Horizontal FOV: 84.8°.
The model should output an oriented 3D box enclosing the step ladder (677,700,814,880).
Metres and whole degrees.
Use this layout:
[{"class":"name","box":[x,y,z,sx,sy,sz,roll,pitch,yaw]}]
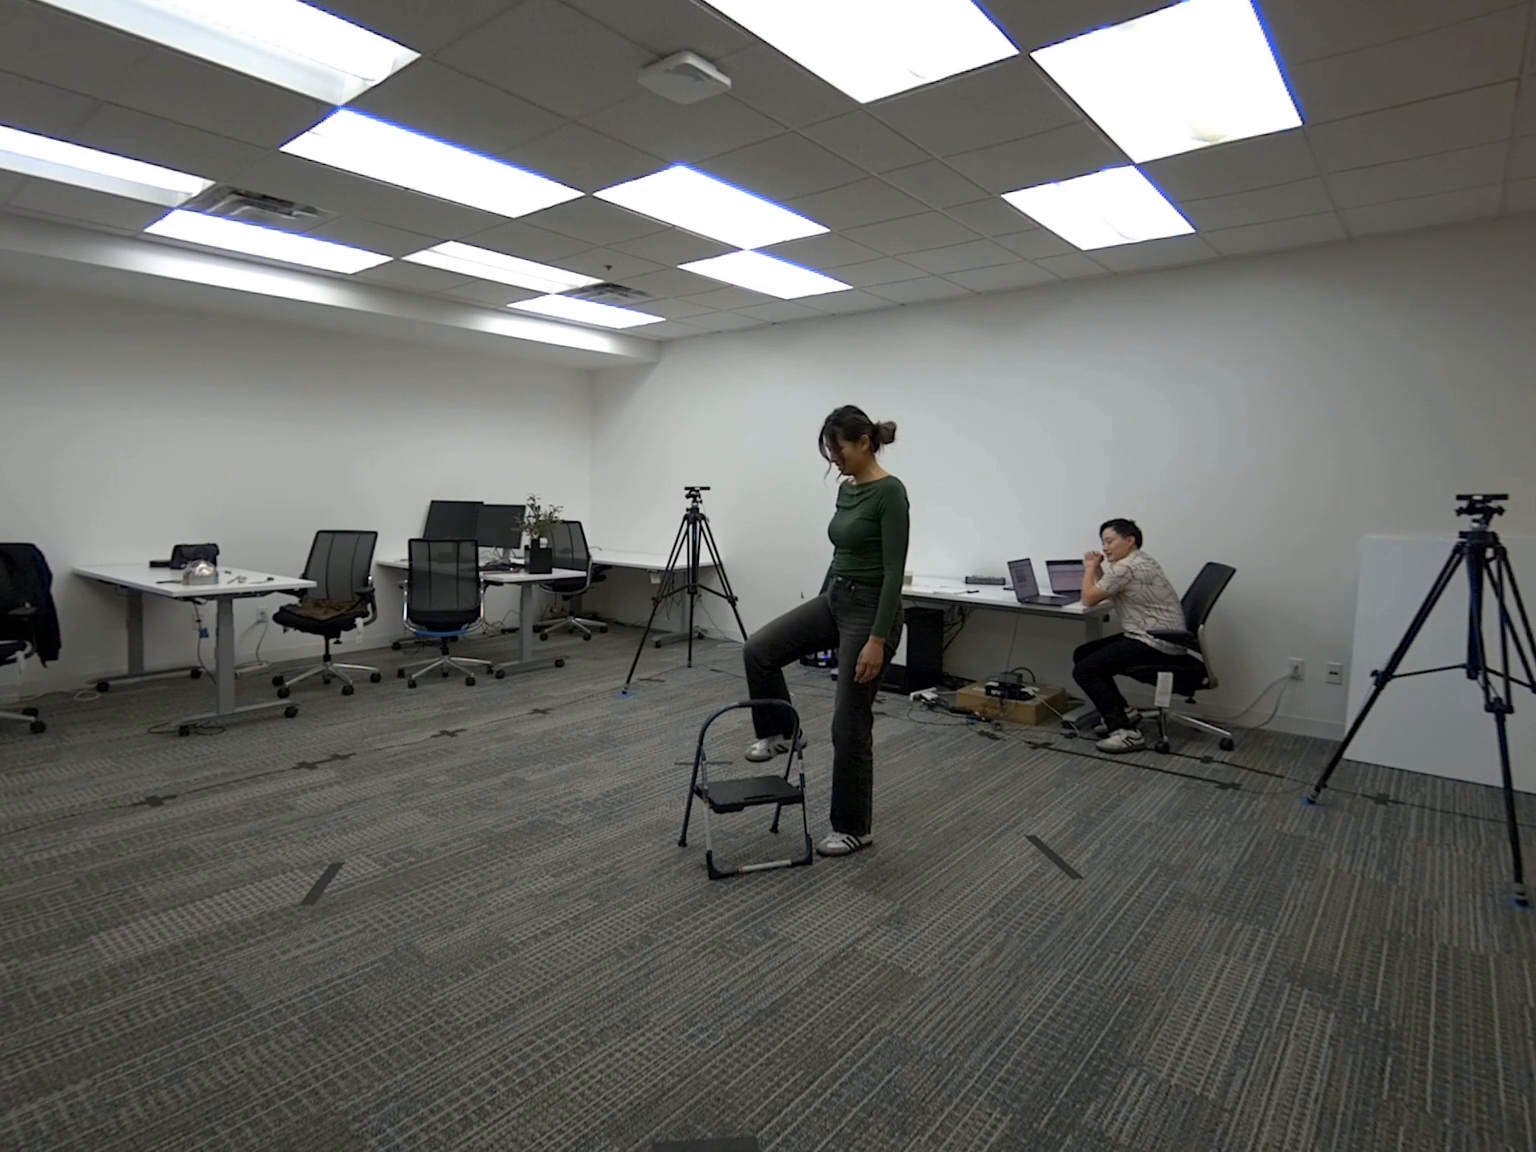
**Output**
[{"class":"step ladder","box":[-0.094,0.754,3.225,0.421,0.604,0.358,0,4,-23]}]
